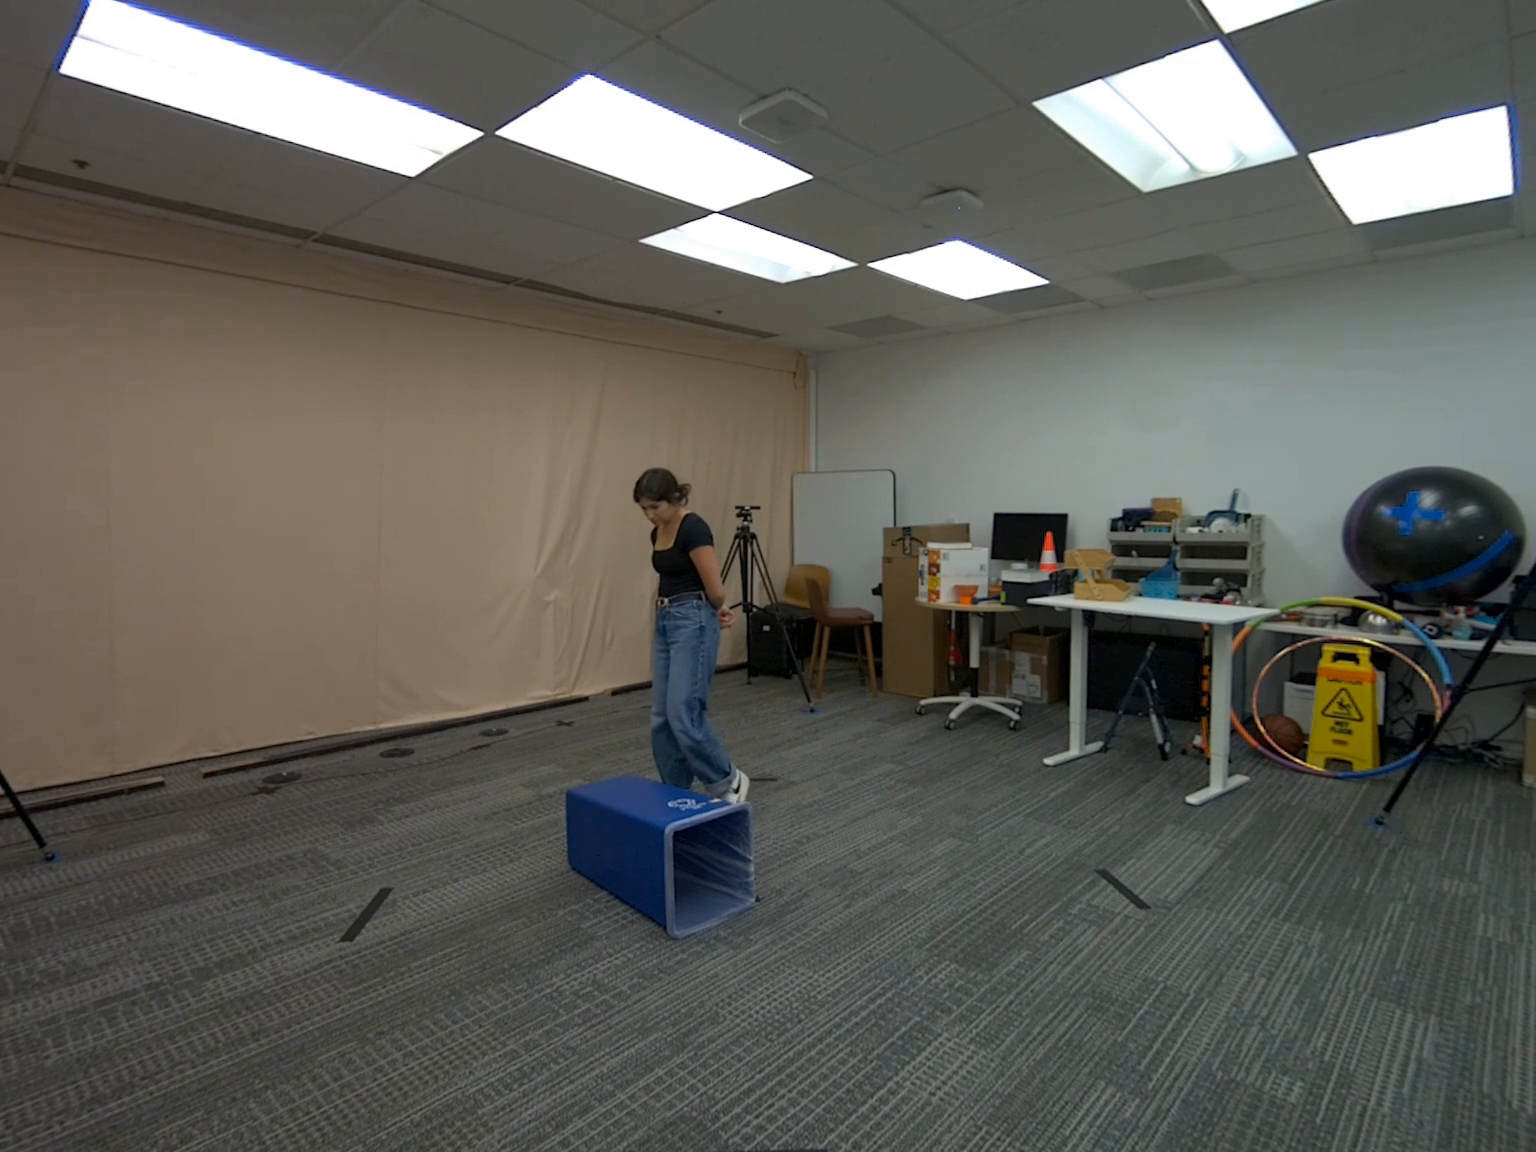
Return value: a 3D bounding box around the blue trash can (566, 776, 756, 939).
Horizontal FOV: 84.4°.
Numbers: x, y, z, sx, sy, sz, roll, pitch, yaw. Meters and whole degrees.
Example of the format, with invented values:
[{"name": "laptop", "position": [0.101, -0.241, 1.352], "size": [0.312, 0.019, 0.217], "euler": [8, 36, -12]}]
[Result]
[{"name": "blue trash can", "position": [-0.424, 0.975, 3.072], "size": [0.363, 0.378, 0.736], "euler": [-4, 3, -43]}]
